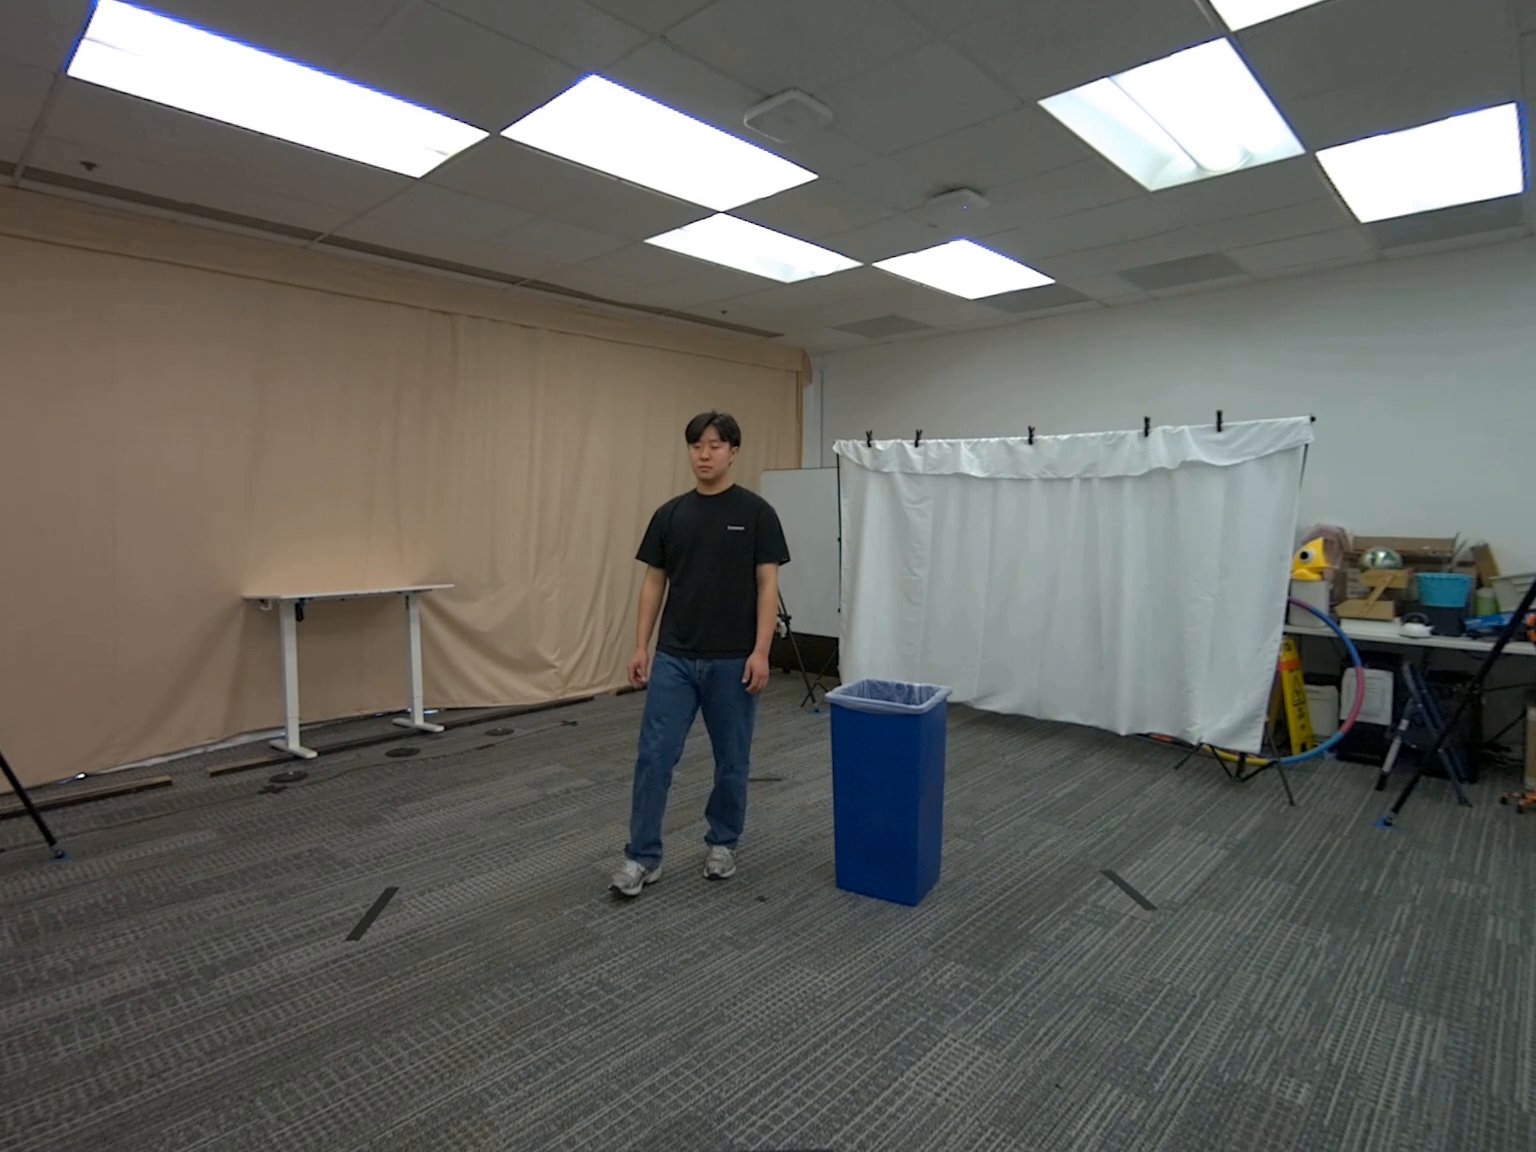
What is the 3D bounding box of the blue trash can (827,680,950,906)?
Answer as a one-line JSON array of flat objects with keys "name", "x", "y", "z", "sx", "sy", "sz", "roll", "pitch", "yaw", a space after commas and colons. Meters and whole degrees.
[{"name": "blue trash can", "x": 0.452, "y": 0.775, "z": 3.087, "sx": 0.389, "sy": 0.712, "sz": 0.364, "roll": 2, "pitch": 3, "yaw": 29}]
